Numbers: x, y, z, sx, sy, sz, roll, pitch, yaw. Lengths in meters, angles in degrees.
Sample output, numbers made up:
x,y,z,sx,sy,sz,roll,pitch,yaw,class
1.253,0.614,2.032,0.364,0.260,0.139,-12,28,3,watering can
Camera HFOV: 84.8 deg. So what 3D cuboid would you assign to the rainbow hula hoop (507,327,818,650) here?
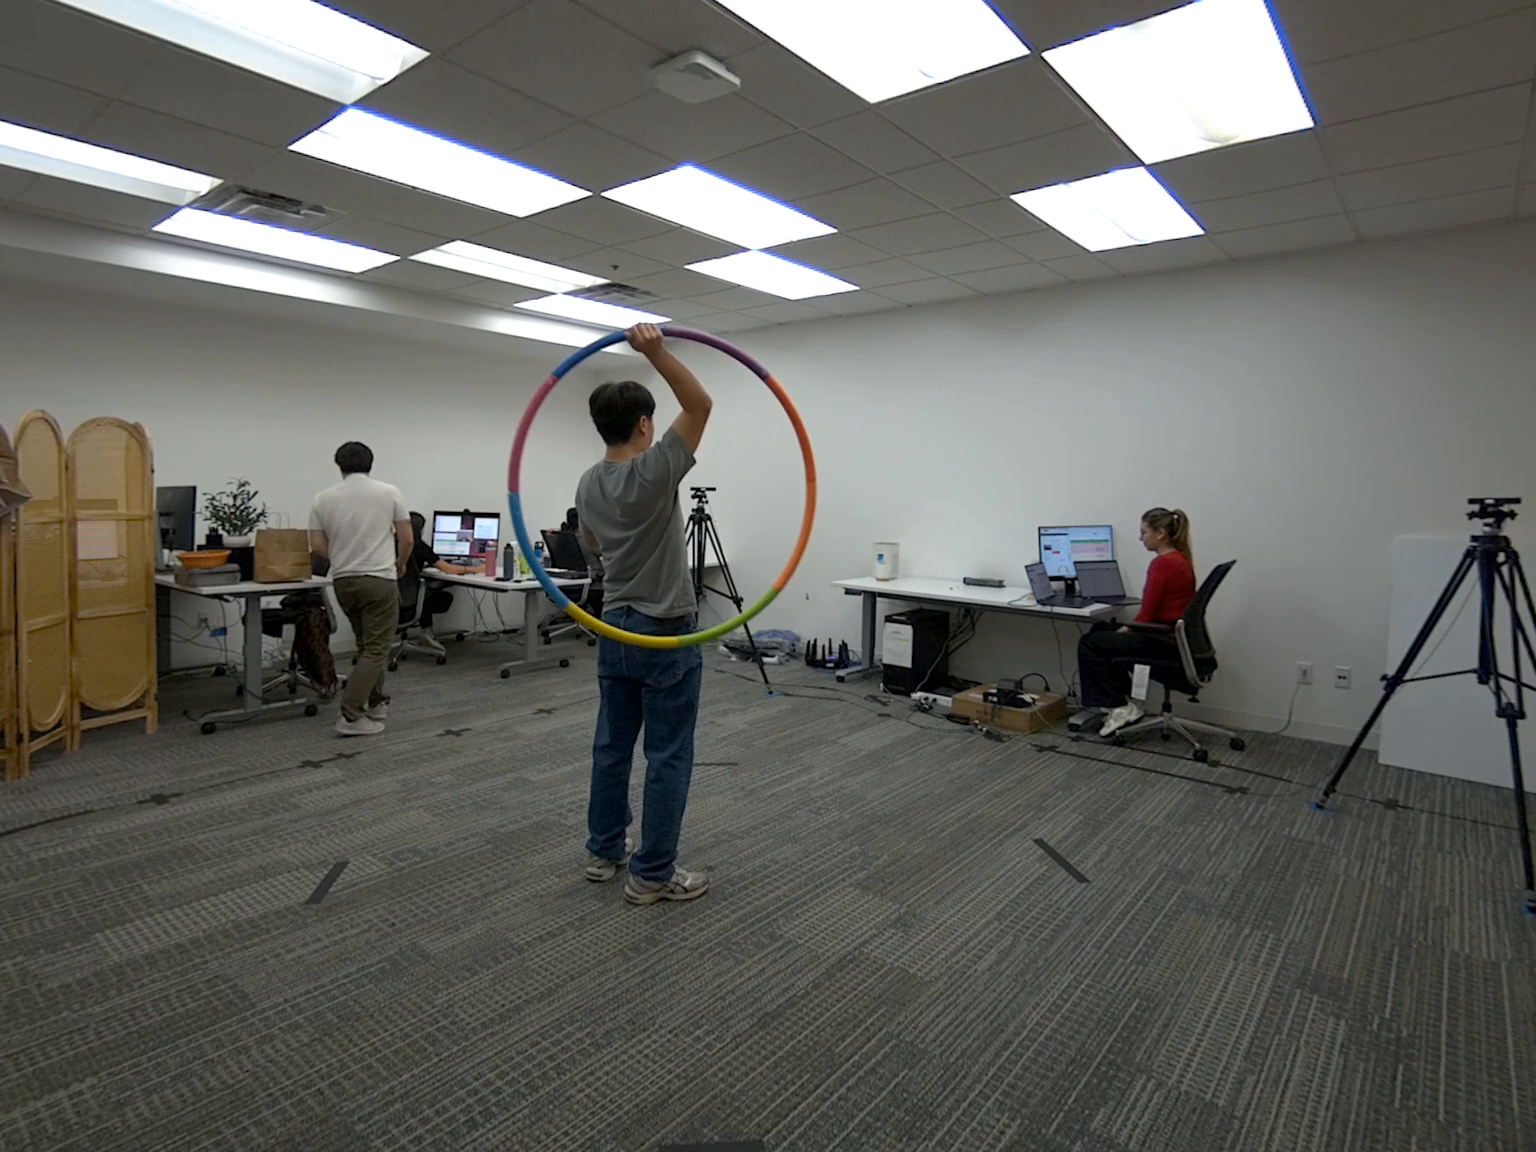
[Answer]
x,y,z,sx,sy,sz,roll,pitch,yaw,class
-0.318,-0.283,2.630,0.960,0.977,0.036,-1,2,-19,rainbow hula hoop
